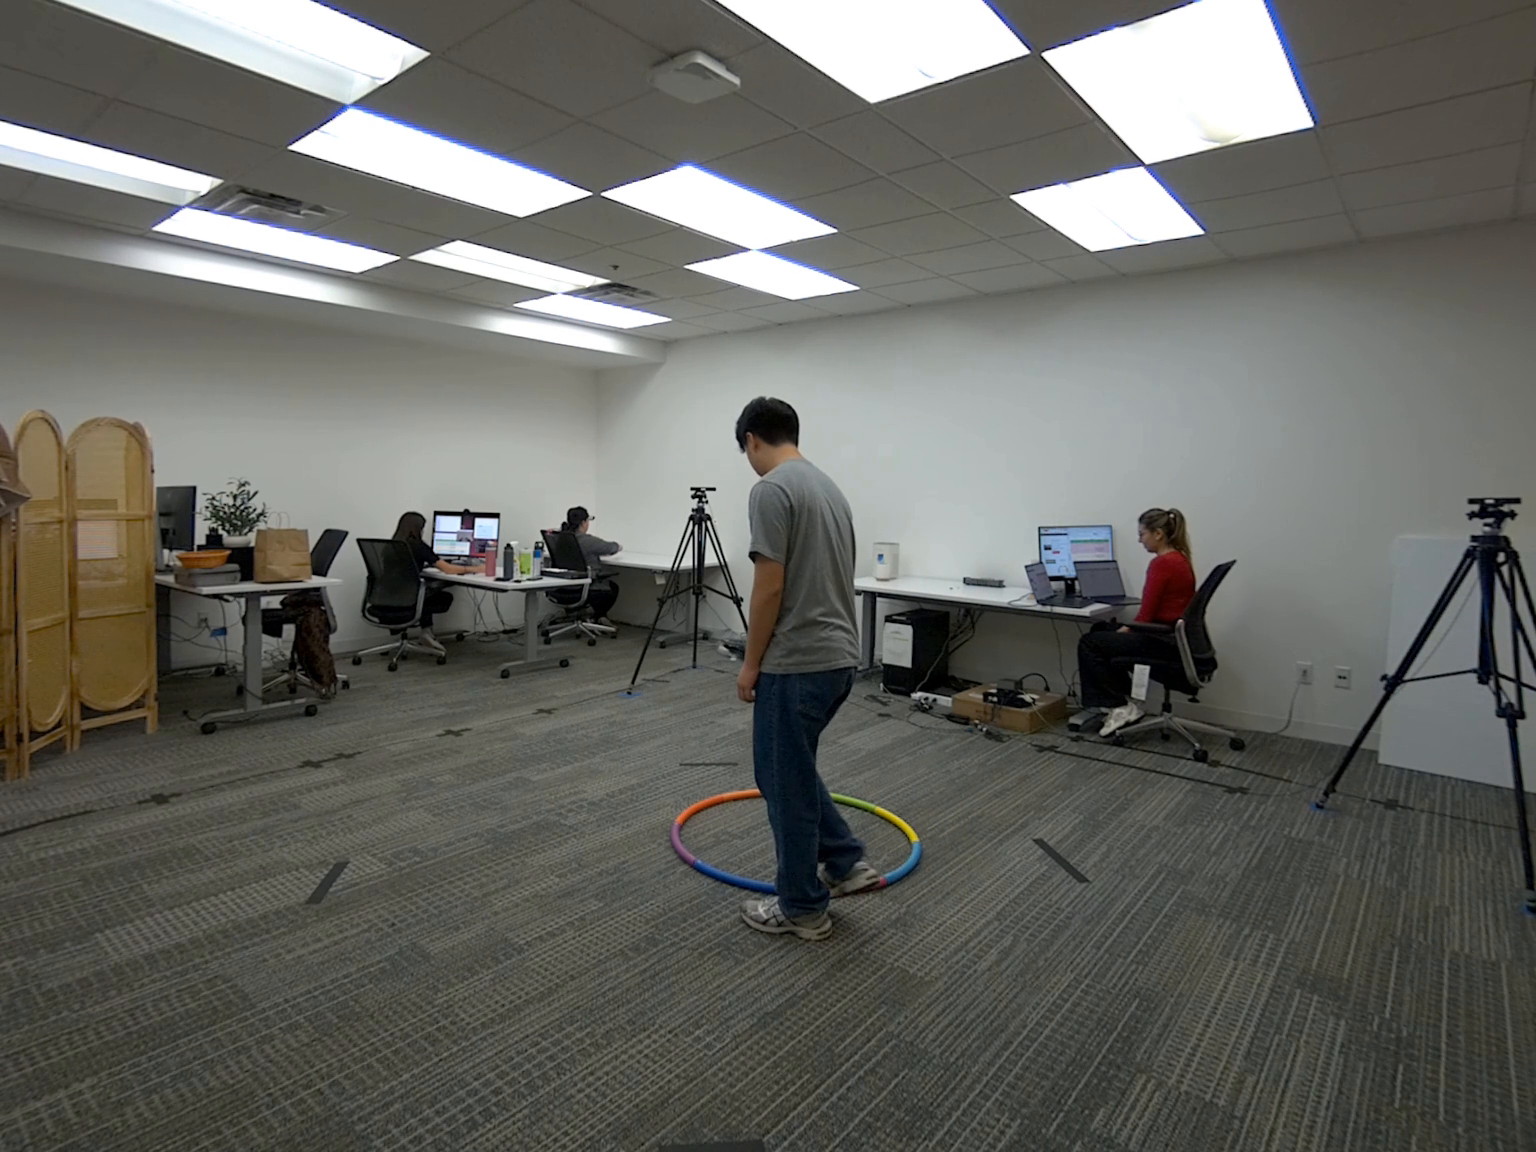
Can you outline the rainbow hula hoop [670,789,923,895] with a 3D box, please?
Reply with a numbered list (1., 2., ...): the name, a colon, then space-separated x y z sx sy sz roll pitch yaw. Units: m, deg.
1. rainbow hula hoop: 0.094 1.016 3.378 0.978 0.035 0.984 1 6 -2
